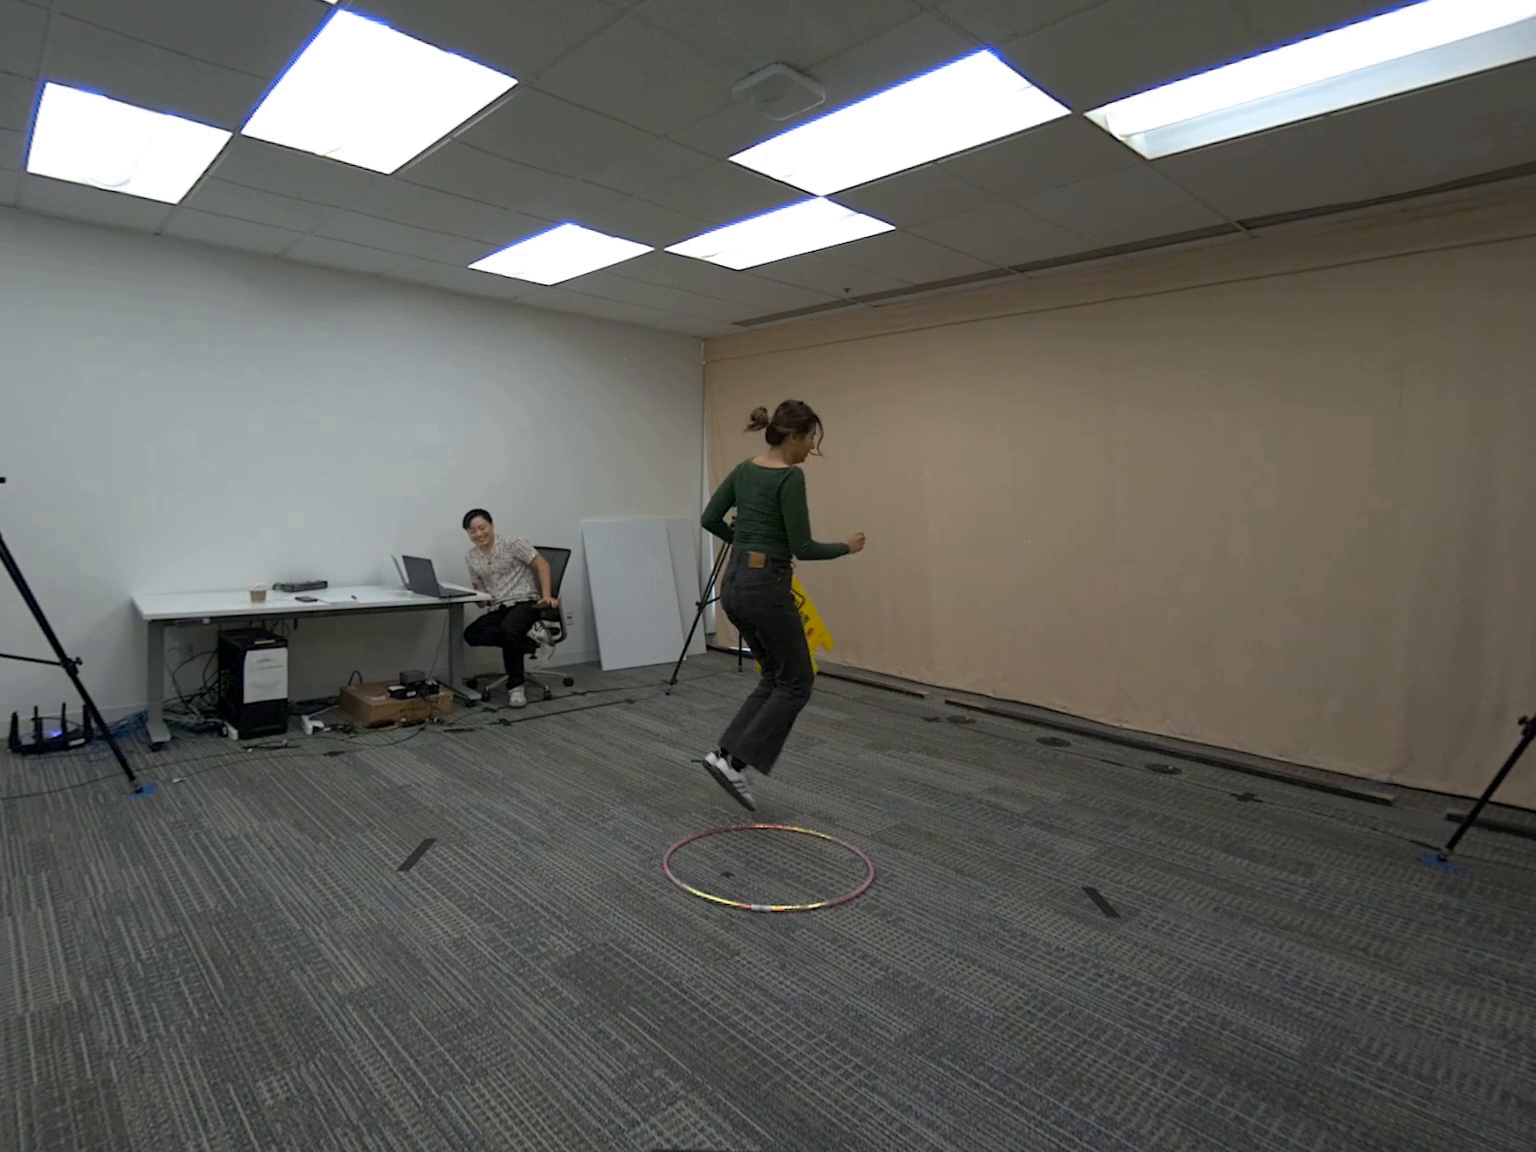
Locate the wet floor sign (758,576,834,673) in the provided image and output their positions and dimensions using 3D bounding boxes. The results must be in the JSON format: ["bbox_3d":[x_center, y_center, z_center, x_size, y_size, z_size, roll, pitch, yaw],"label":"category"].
[{"bbox_3d":[0.025,0.156,3.902,0.296,0.632,0.282,-1,31,32],"label":"wet floor sign"}]
